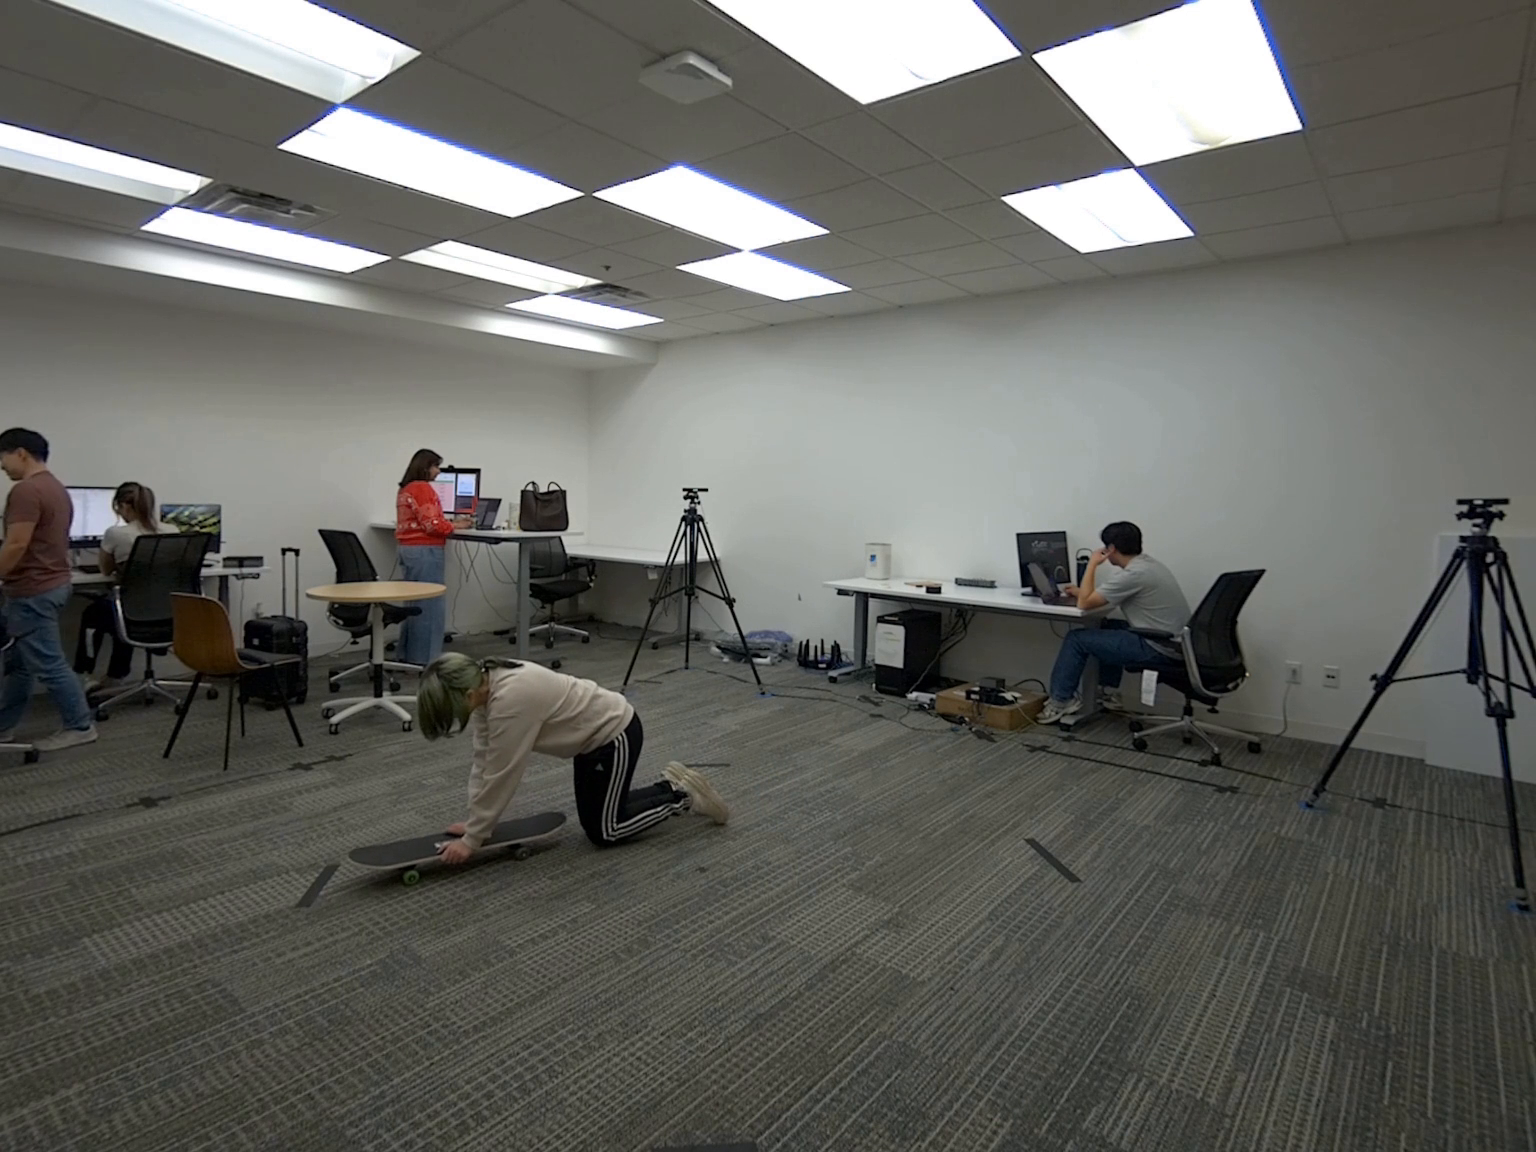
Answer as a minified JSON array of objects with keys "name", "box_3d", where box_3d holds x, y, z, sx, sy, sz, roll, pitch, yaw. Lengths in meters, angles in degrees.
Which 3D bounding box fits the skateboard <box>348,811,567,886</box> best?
[{"name":"skateboard","box_3d":[-1.134,1.001,3.118,0.764,0.110,0.200,-3,7,-31]}]
